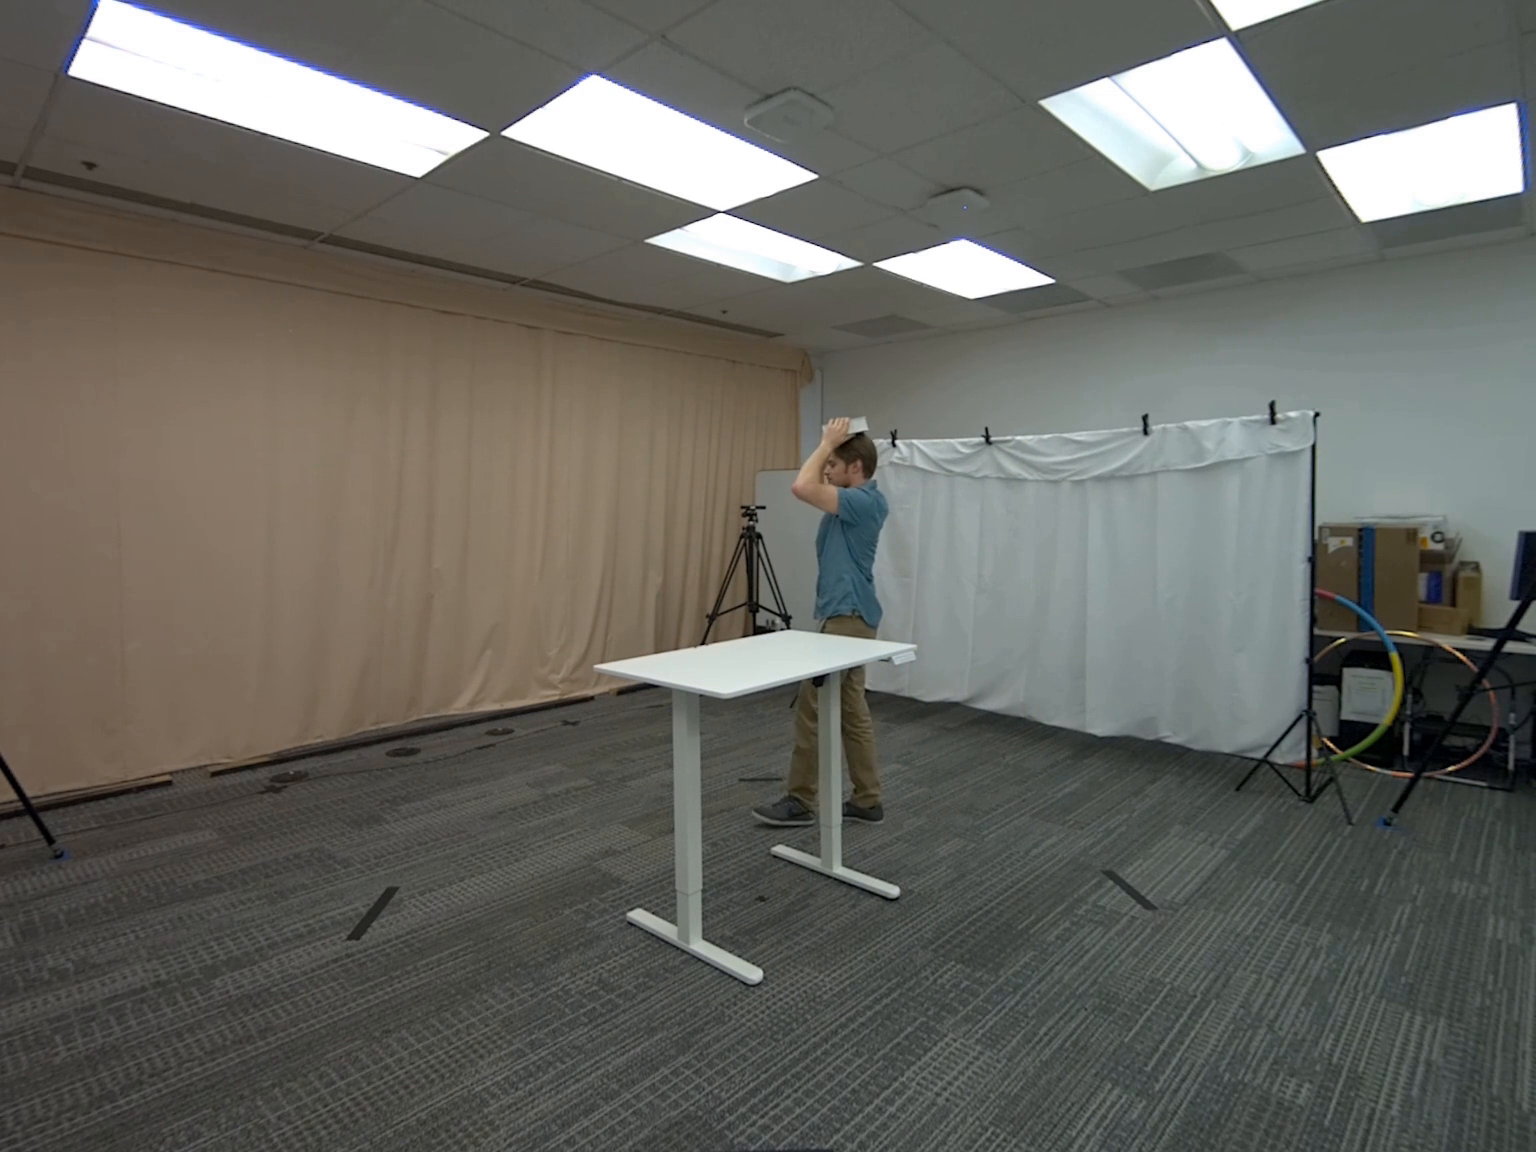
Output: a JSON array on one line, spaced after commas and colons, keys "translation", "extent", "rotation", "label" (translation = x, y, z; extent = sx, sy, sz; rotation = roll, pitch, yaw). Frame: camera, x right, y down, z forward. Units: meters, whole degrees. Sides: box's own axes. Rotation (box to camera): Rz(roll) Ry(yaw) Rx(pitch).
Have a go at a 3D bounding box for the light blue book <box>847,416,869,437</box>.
[{"translation": [0.331, -0.629, 3.641], "extent": [0.193, 0.059, 0.259], "rotation": [-12, 2, 6], "label": "light blue book"}]
